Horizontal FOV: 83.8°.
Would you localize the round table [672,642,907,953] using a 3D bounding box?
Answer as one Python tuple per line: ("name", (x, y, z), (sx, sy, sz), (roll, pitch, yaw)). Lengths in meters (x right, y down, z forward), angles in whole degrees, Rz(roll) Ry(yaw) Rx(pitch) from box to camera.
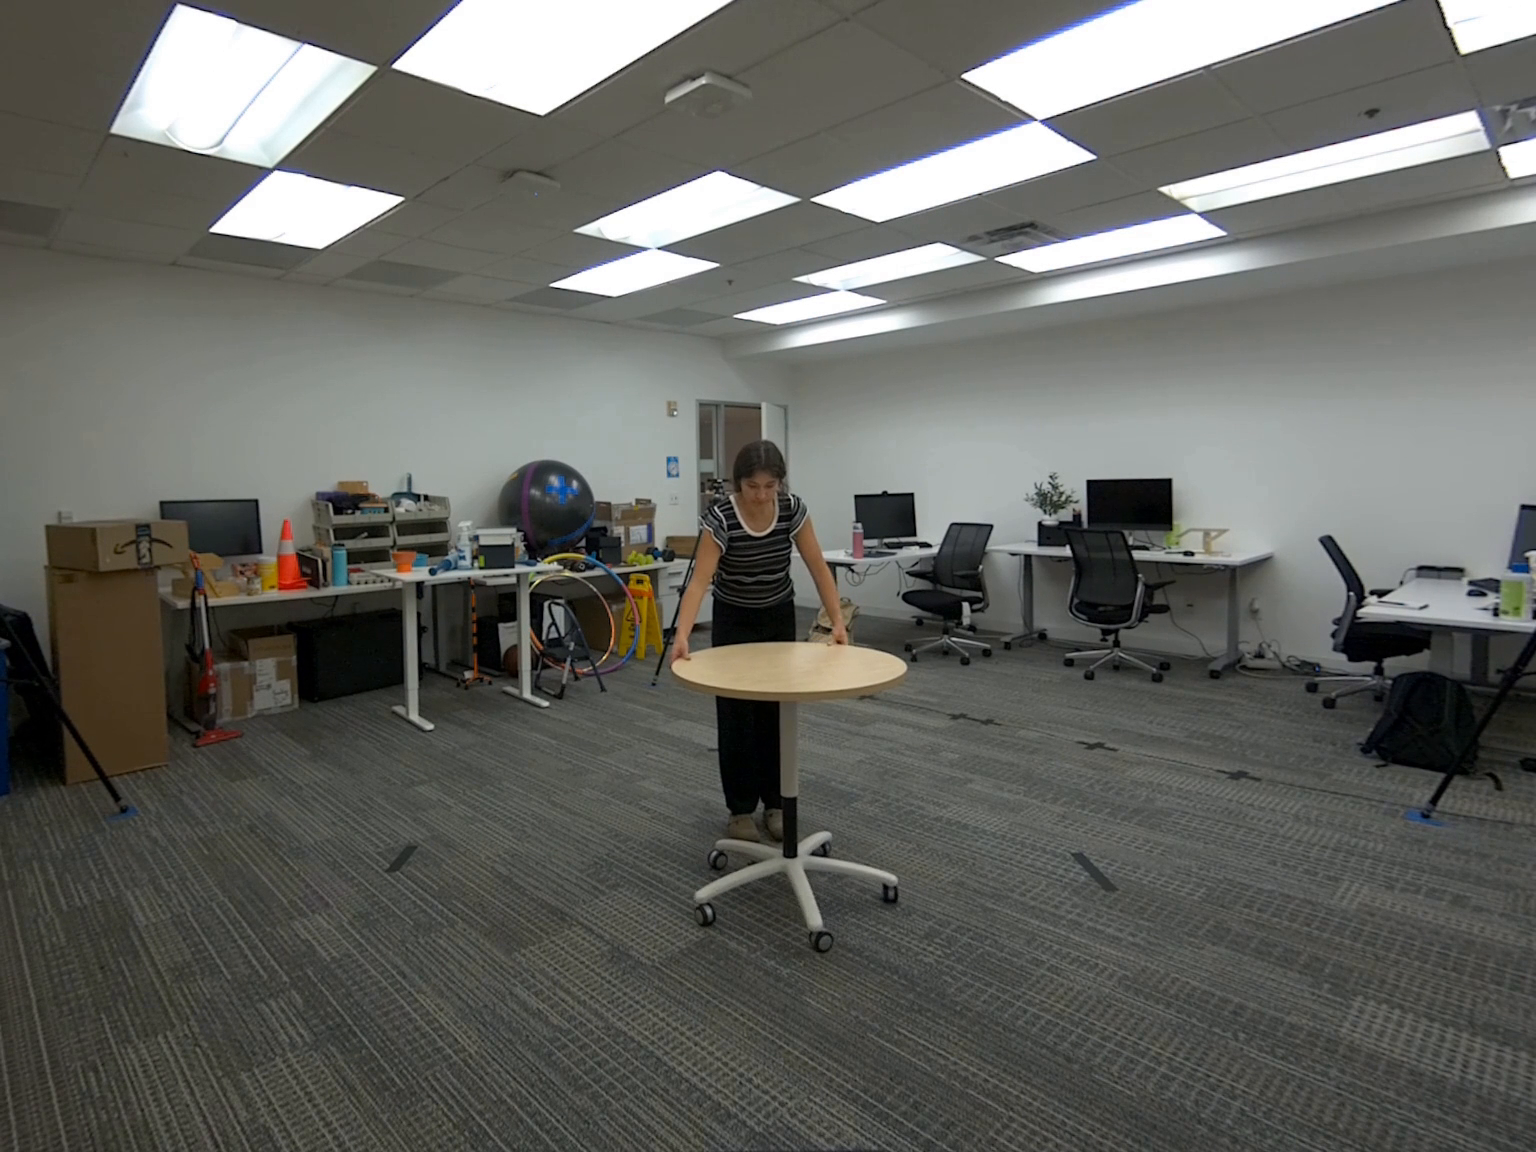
("round table", (0.083, 0.682, 2.824), (0.784, 0.783, 0.789), (-1, 5, -2))
